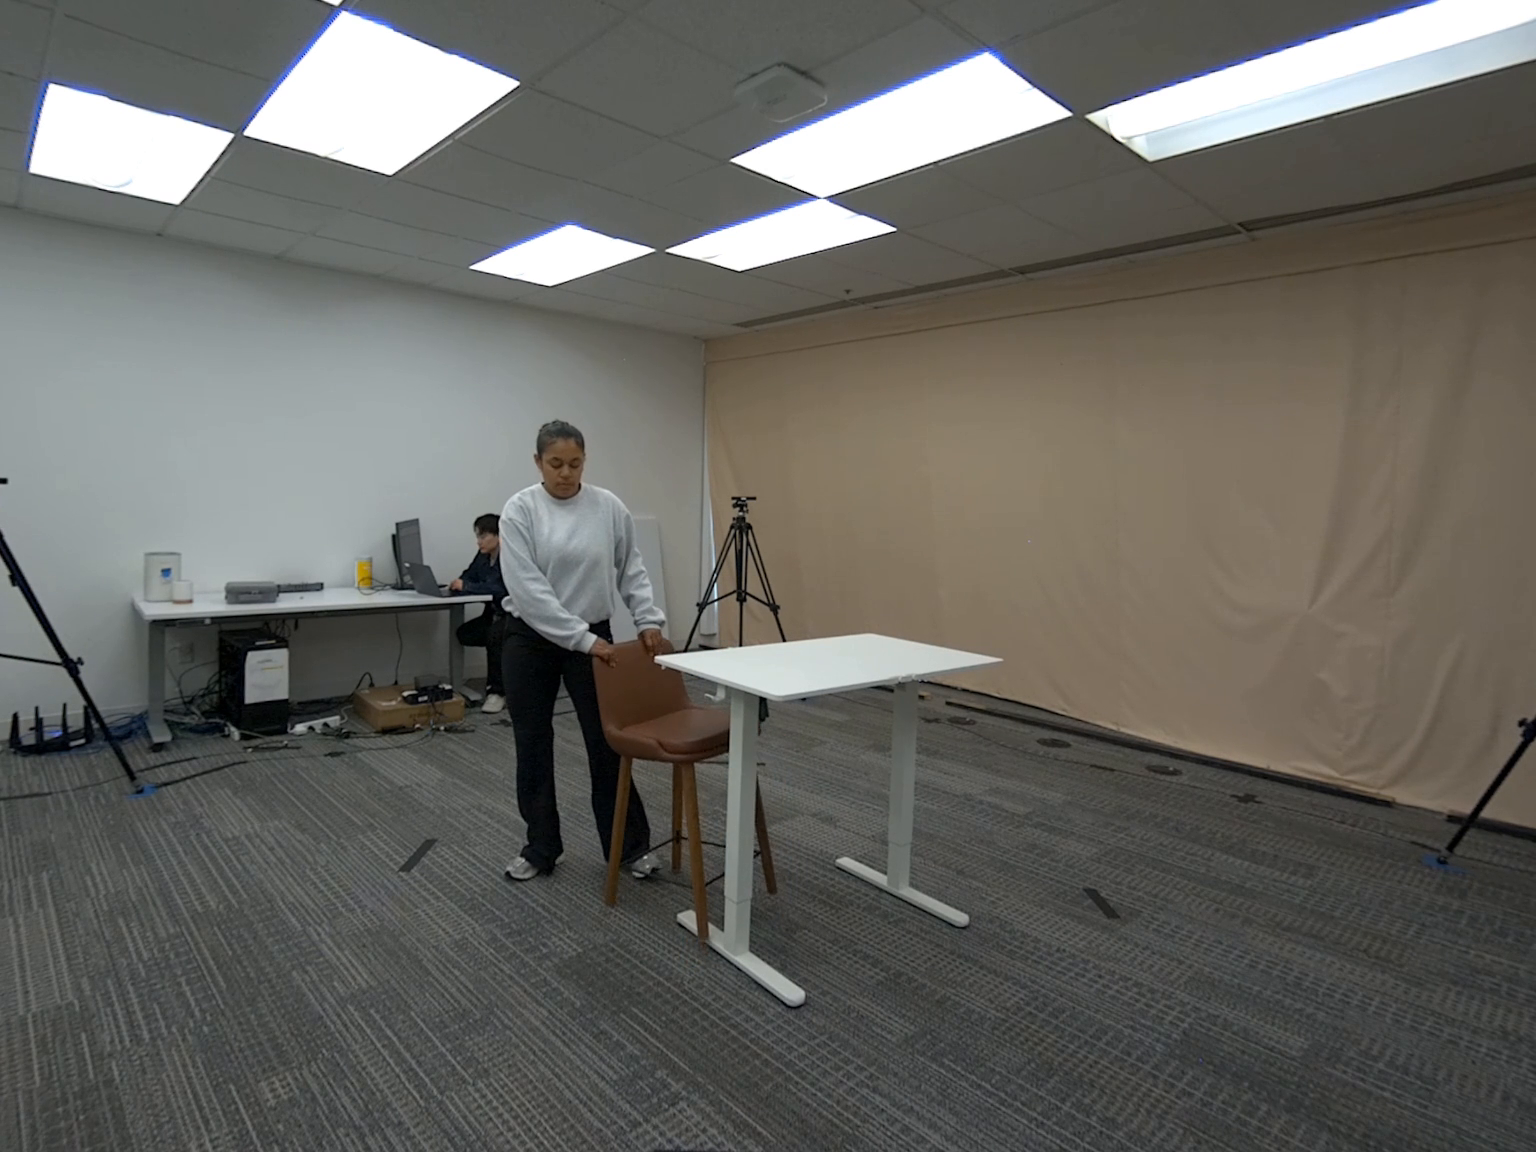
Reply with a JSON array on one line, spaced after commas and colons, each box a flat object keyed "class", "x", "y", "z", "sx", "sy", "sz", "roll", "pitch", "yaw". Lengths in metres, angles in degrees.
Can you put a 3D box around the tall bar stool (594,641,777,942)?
[{"class": "tall bar stool", "x": -0.300, "y": 0.674, "z": 2.869, "sx": 0.477, "sy": 0.890, "sz": 0.447, "roll": -4, "pitch": 0, "yaw": 36}]
